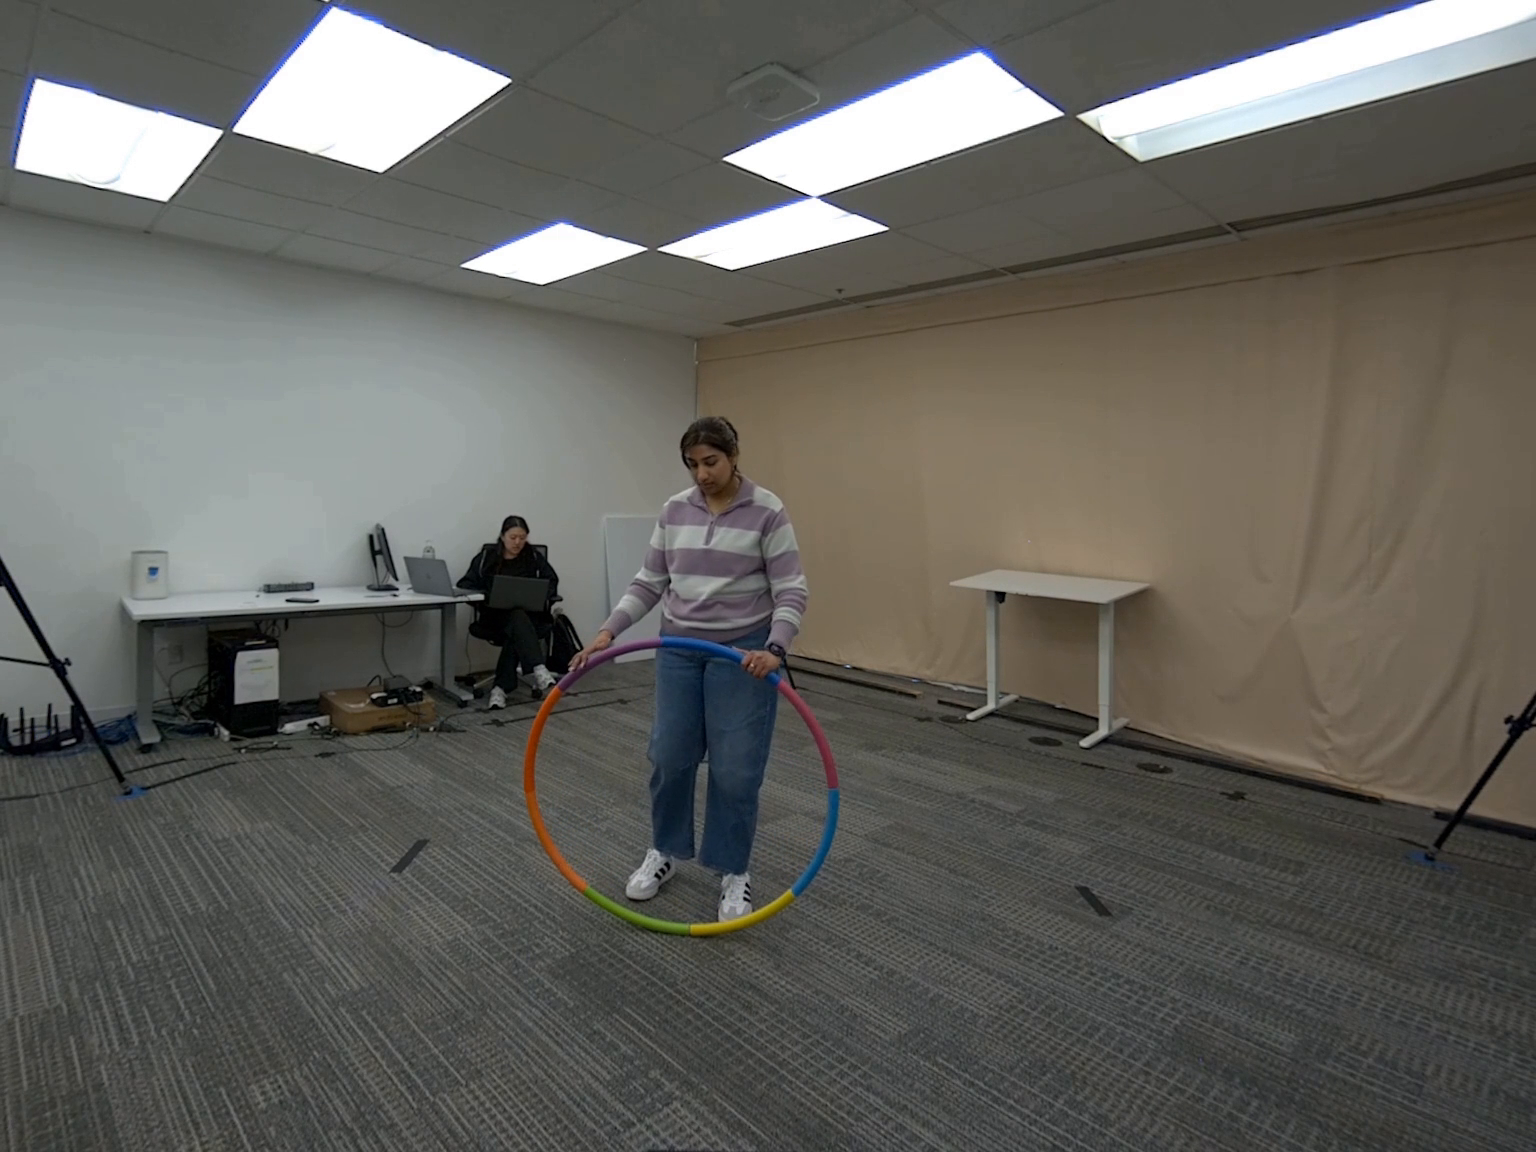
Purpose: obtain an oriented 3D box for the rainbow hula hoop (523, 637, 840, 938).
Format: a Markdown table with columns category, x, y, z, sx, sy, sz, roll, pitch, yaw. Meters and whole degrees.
| category | x | y | z | sx | sy | sz | roll | pitch | yaw |
| --- | --- | --- | --- | --- | --- | --- | --- | --- | --- |
| rainbow hula hoop | -0.280 | 0.667 | 2.610 | 0.992 | 0.979 | 0.051 | 2 | 9 | 9 |
